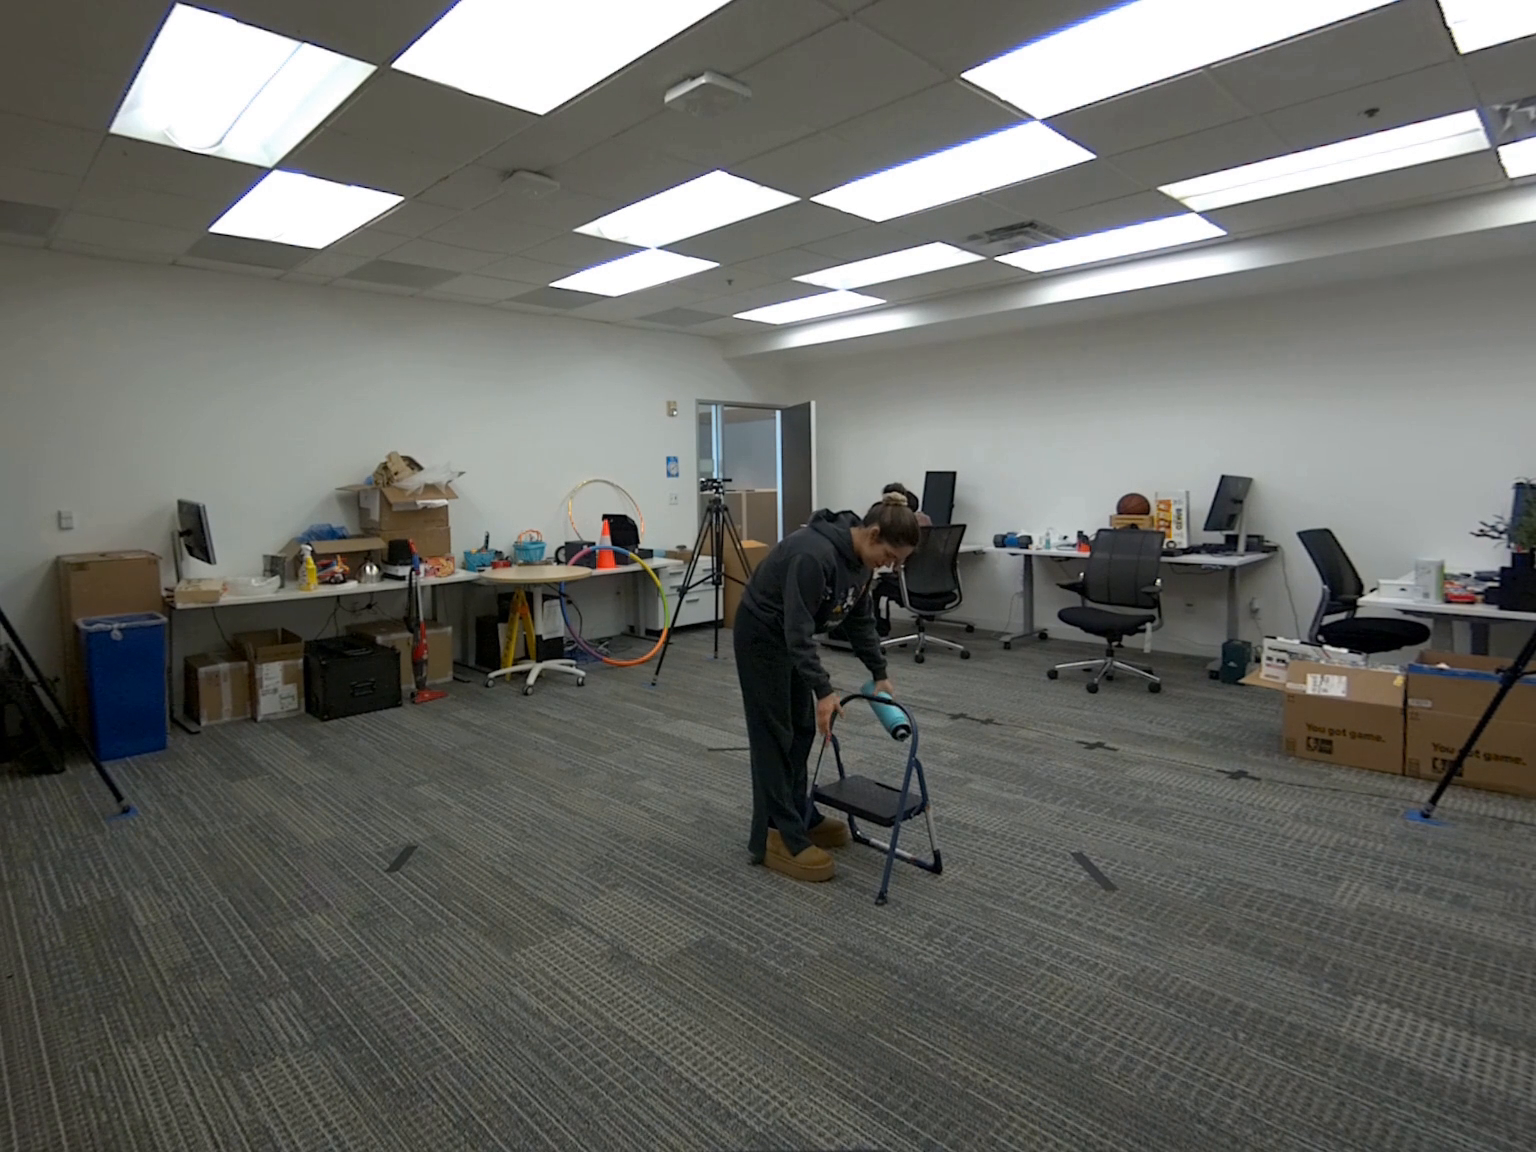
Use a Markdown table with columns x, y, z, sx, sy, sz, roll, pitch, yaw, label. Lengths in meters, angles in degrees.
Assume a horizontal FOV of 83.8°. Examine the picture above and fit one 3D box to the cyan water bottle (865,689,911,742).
| x | y | z | sx | sy | sz | roll | pitch | yaw | label |
| --- | --- | --- | --- | --- | --- | --- | --- | --- | --- |
| 0.452 | 0.512 | 3.255 | 0.090 | 0.091 | 0.294 | -3 | 33 | -24 | cyan water bottle |
